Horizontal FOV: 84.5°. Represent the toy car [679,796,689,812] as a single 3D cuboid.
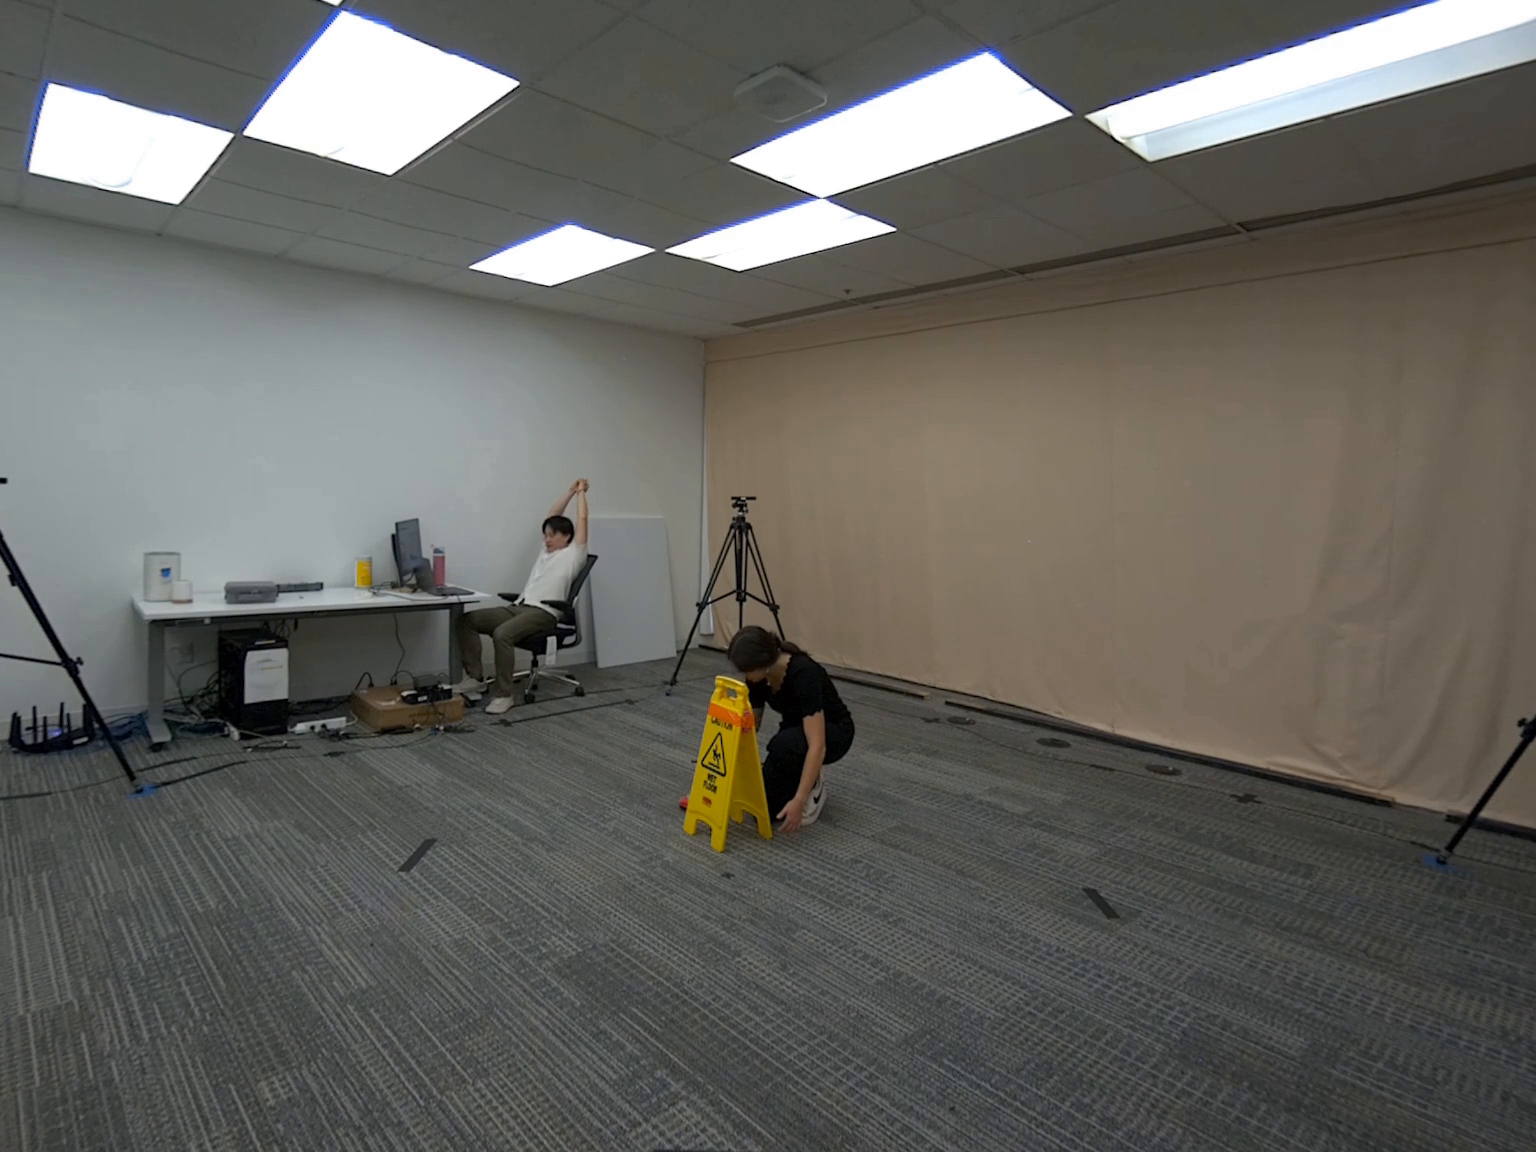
[{"bbox_3d":[-0.290,1.005,3.825,0.133,0.082,0.252,1,15,27],"label":"toy car"}]
